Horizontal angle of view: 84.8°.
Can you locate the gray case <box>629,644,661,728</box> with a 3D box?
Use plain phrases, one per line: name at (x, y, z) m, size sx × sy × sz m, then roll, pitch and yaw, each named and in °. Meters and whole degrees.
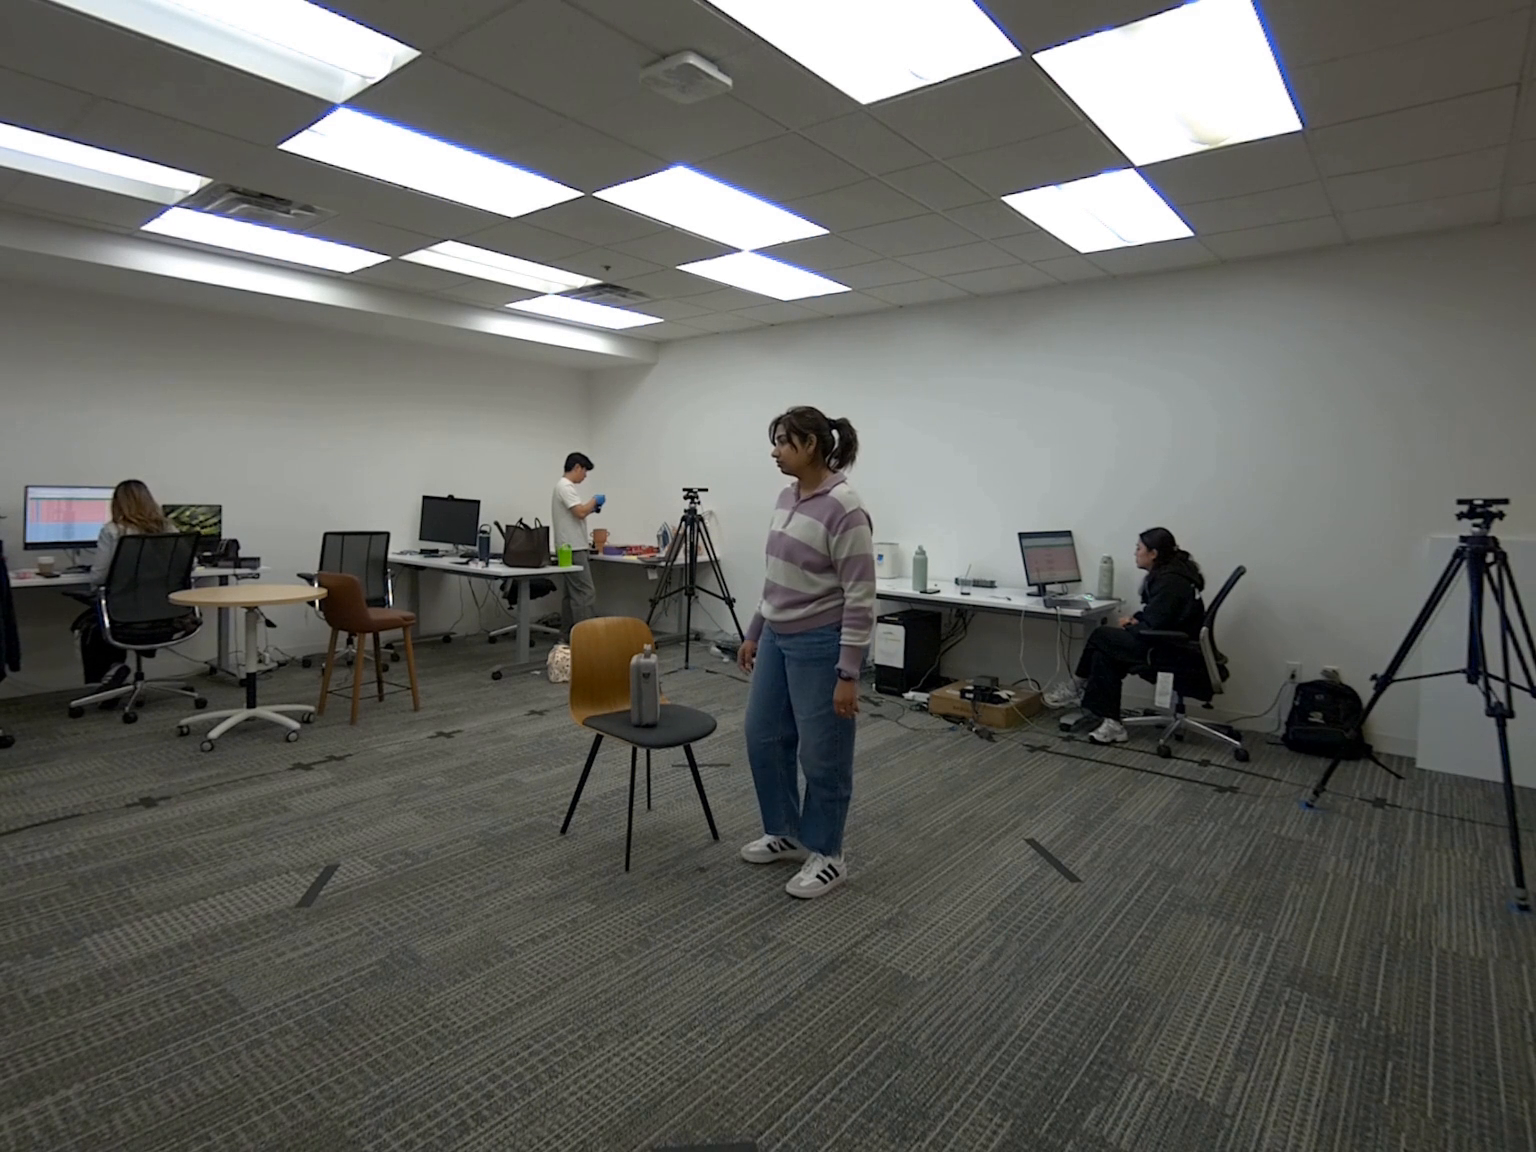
gray case at (-0.501, 0.432, 3.346) m, size 0.103 × 0.260 × 0.259 m, roll -2°, pitch 2°, yaw -9°
